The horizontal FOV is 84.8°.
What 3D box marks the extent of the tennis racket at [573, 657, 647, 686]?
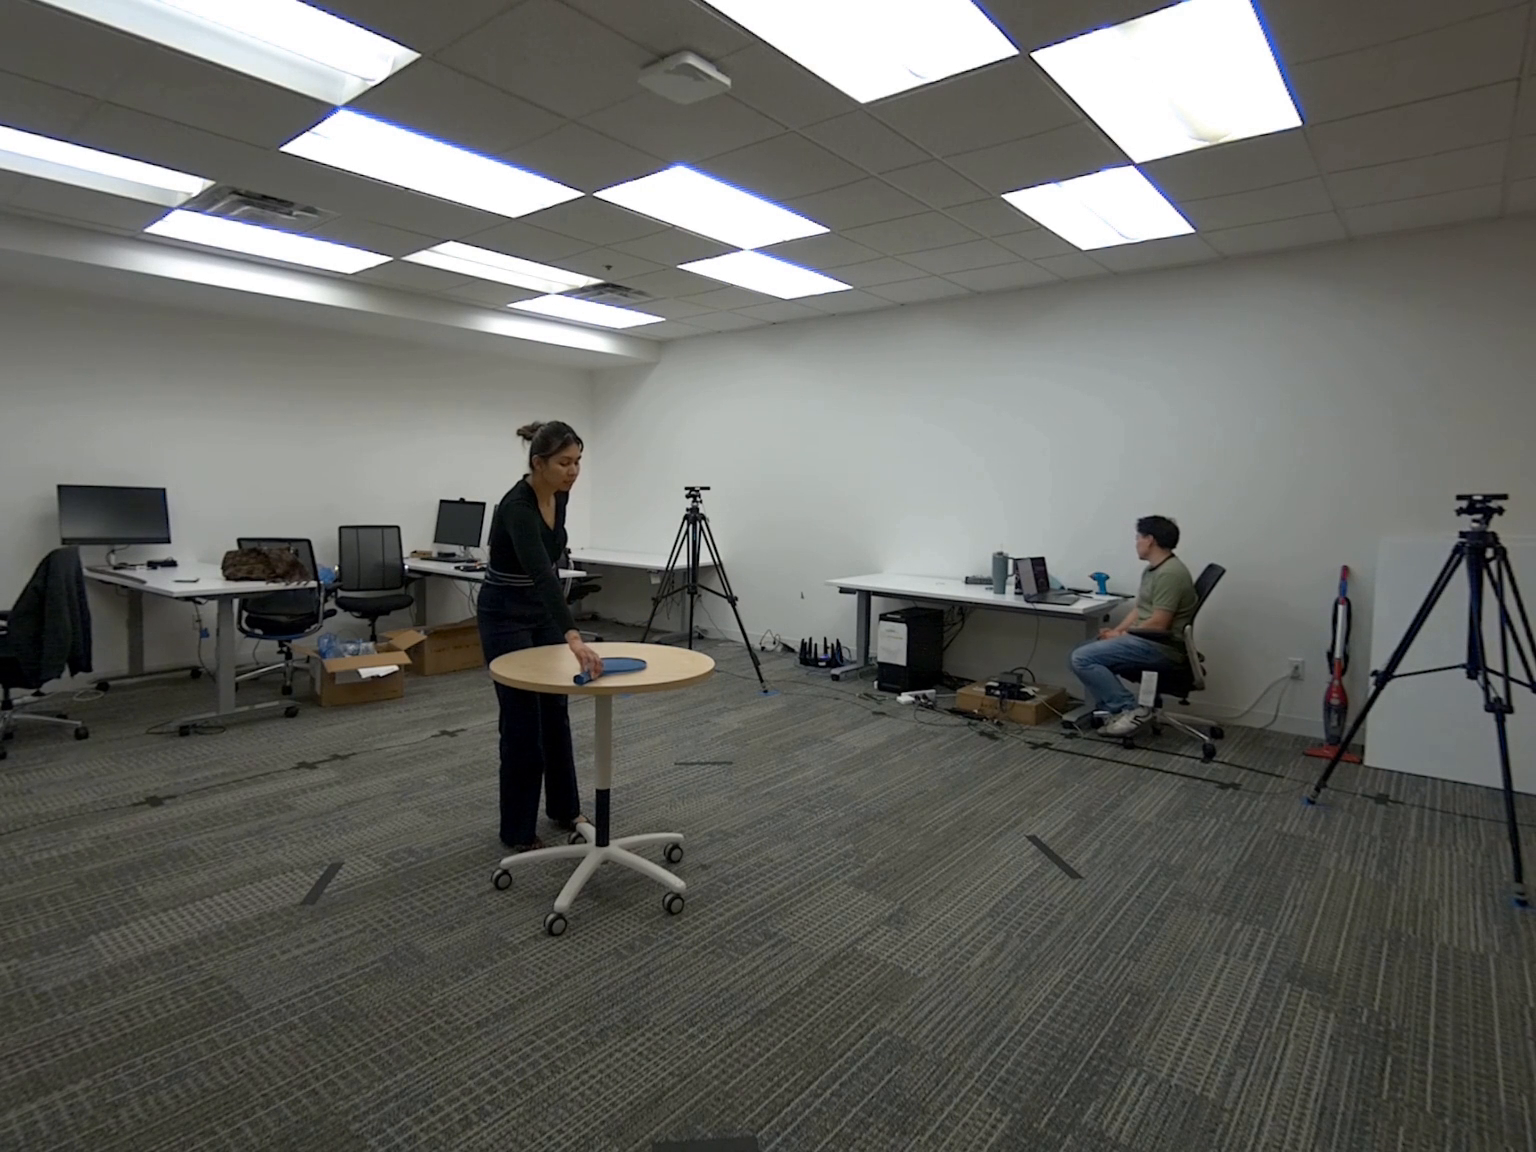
[{"bbox_3d":[-0.536,0.302,2.755,0.217,0.032,0.428,2,4,11],"label":"tennis racket"}]
